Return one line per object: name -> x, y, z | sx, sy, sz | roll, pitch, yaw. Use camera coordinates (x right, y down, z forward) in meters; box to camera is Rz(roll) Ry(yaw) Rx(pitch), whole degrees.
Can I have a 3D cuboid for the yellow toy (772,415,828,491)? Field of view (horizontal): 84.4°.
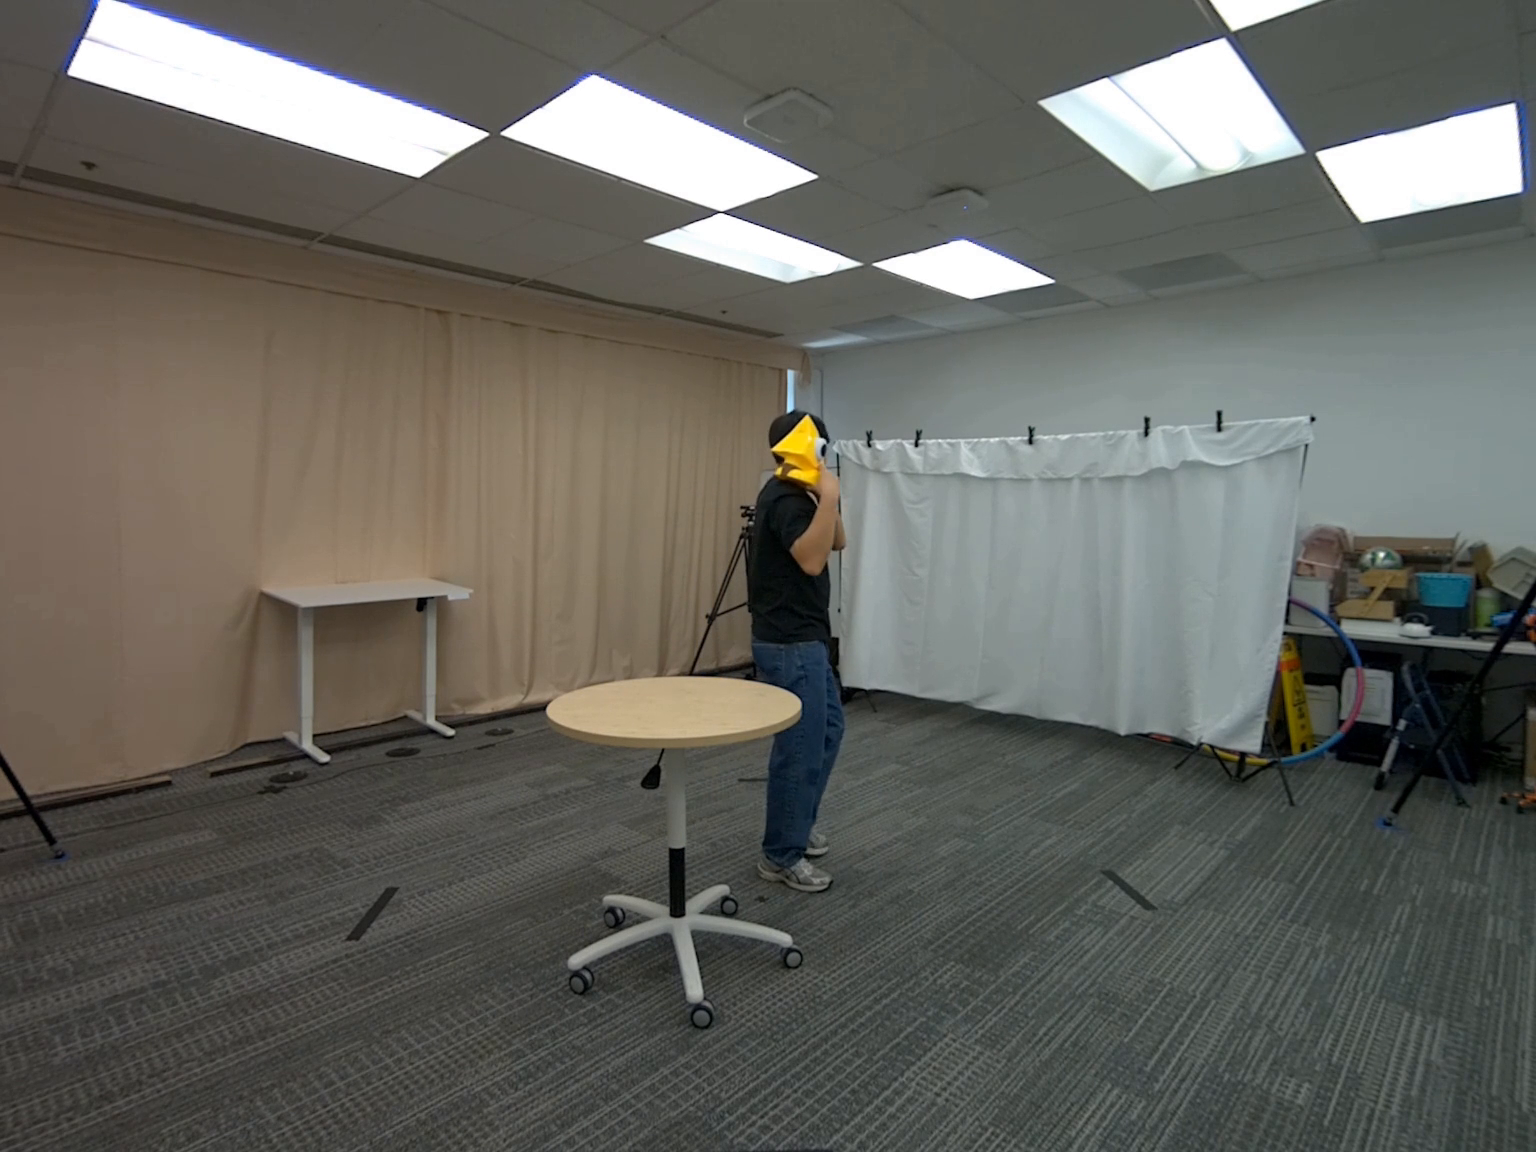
yellow toy -> 0.146, -0.439, 2.995 | 0.187, 0.231, 0.211 | 21, -1, -32
